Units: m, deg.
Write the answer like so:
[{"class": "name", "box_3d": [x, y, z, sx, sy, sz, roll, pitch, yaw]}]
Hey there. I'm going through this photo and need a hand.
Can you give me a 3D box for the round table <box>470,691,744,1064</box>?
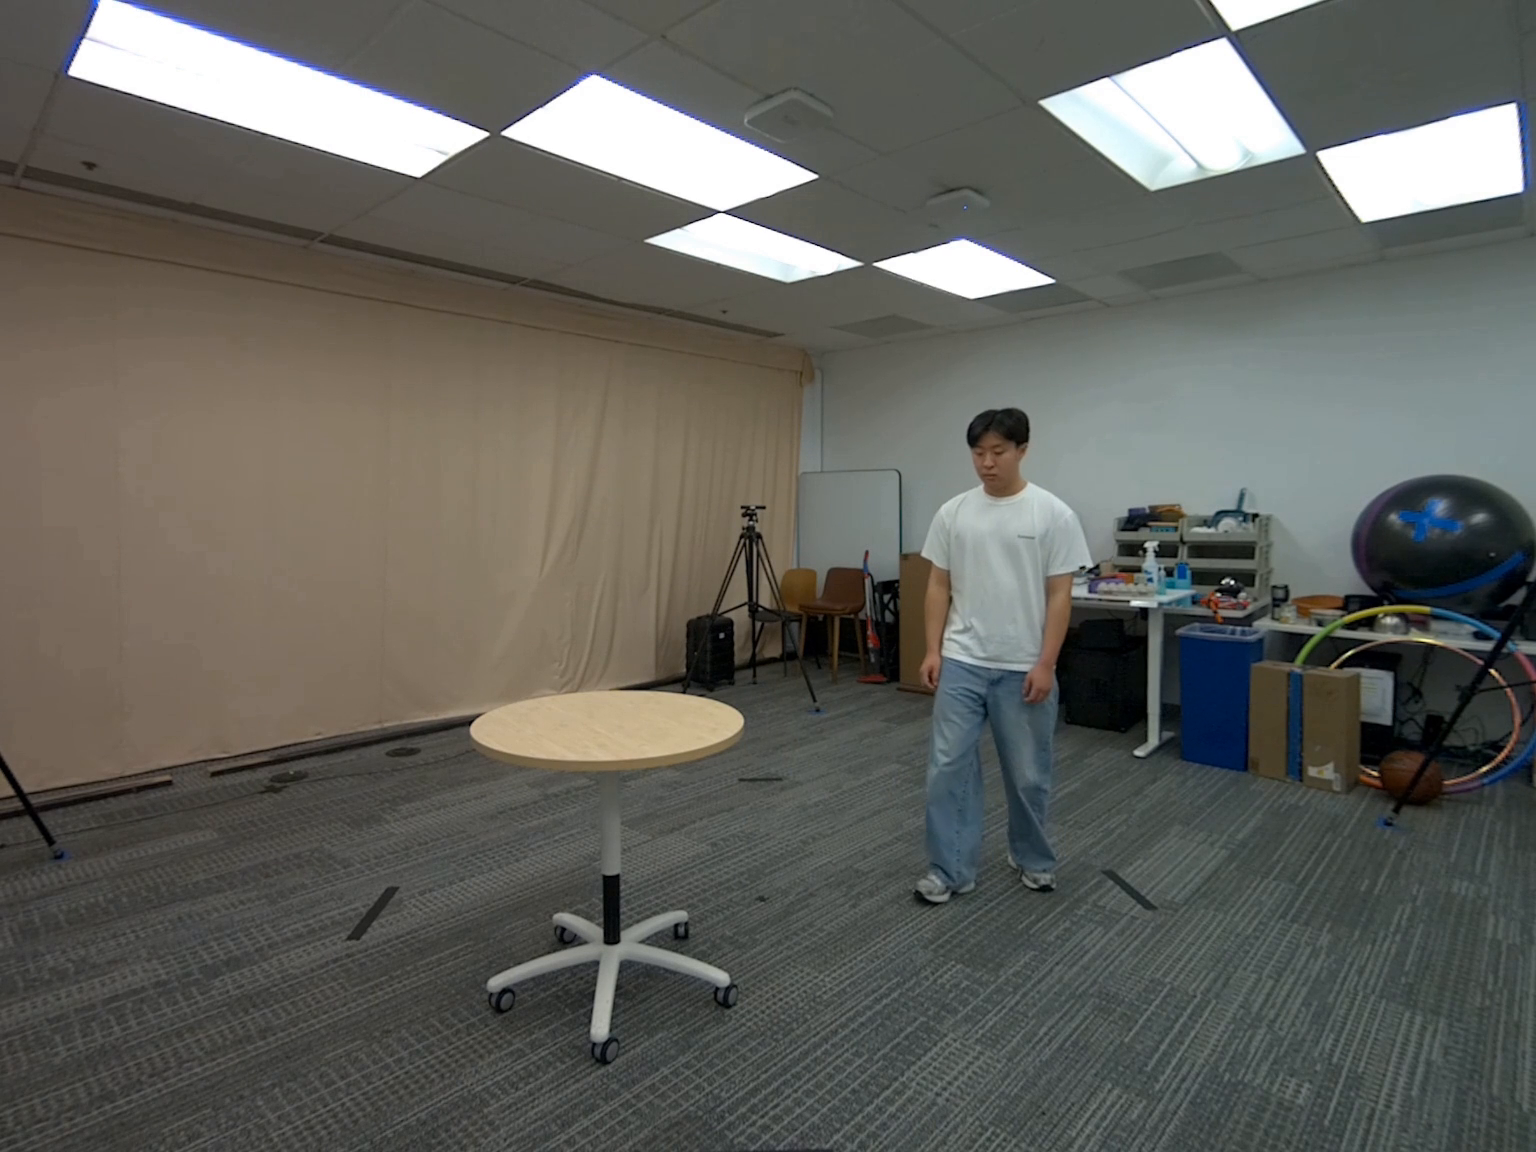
[{"class": "round table", "box_3d": [-0.443, 0.808, 2.409, 0.763, 0.792, 0.766, 0, 4, -2]}]
